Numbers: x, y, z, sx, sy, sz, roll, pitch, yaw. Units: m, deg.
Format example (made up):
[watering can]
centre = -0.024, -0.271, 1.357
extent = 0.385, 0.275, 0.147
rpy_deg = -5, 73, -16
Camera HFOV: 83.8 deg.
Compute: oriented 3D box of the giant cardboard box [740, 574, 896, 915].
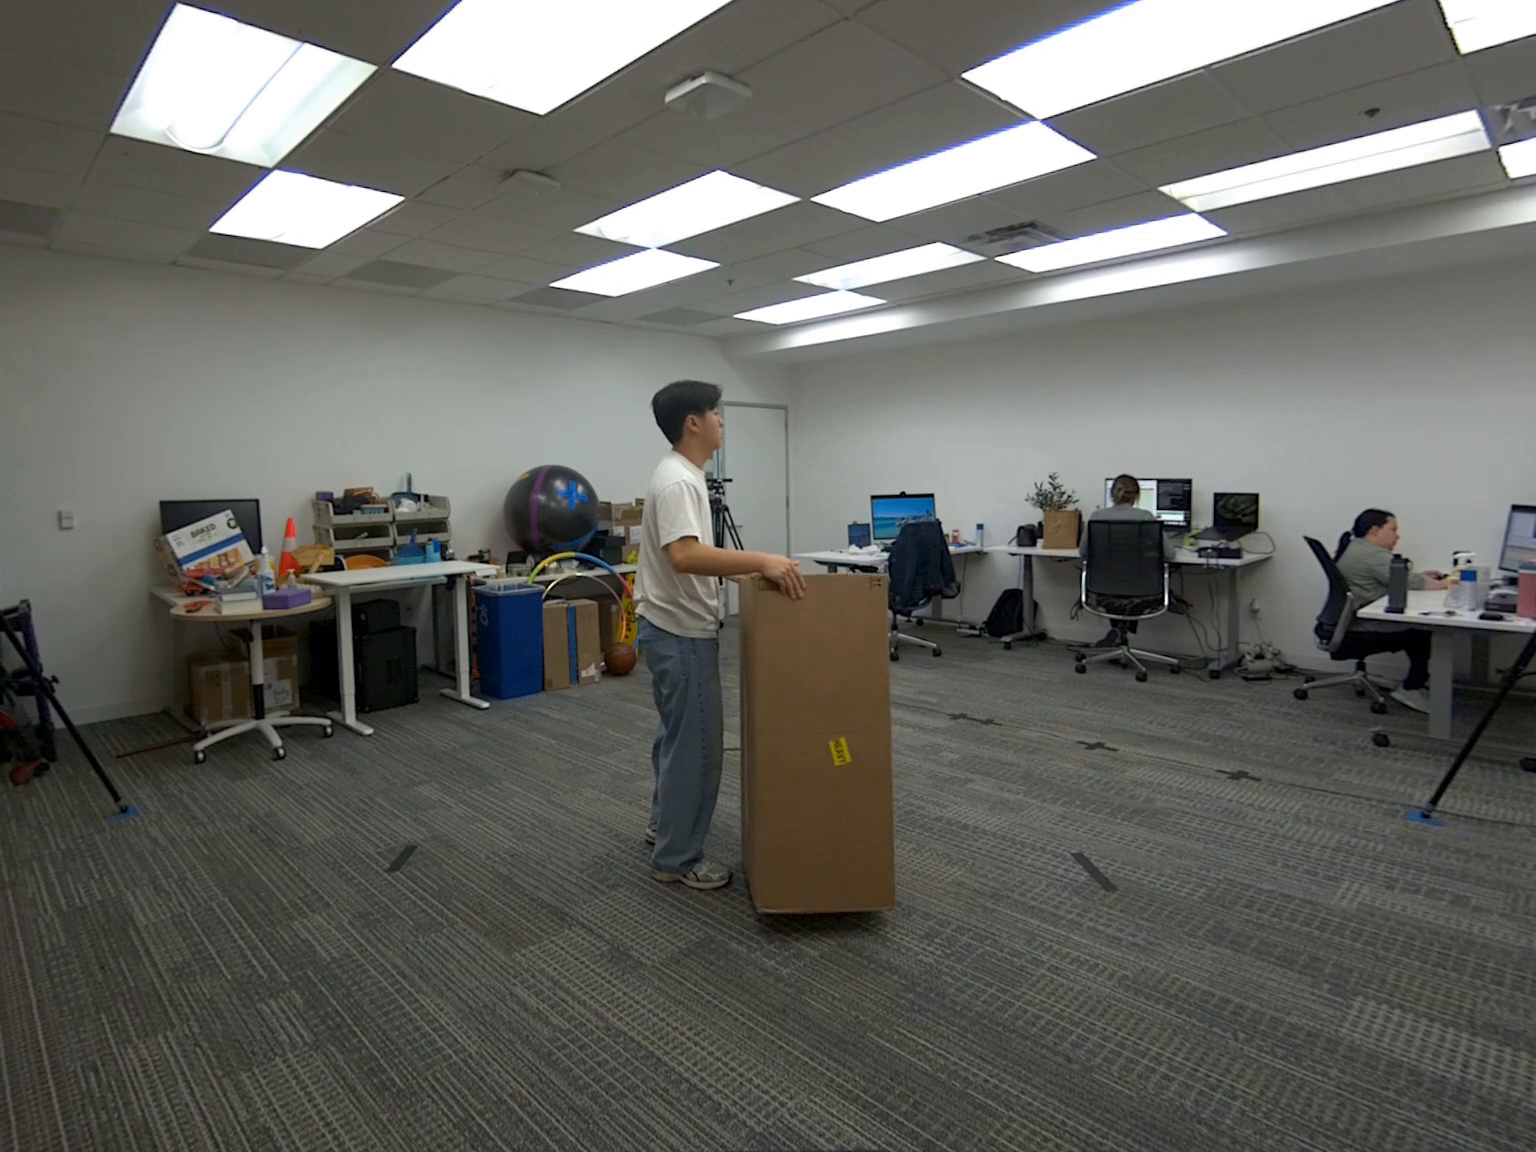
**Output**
[giant cardboard box]
centre = 0.141, 0.512, 2.905
extent = 0.425, 1.030, 0.578
rpy_deg = 0, -4, -5
